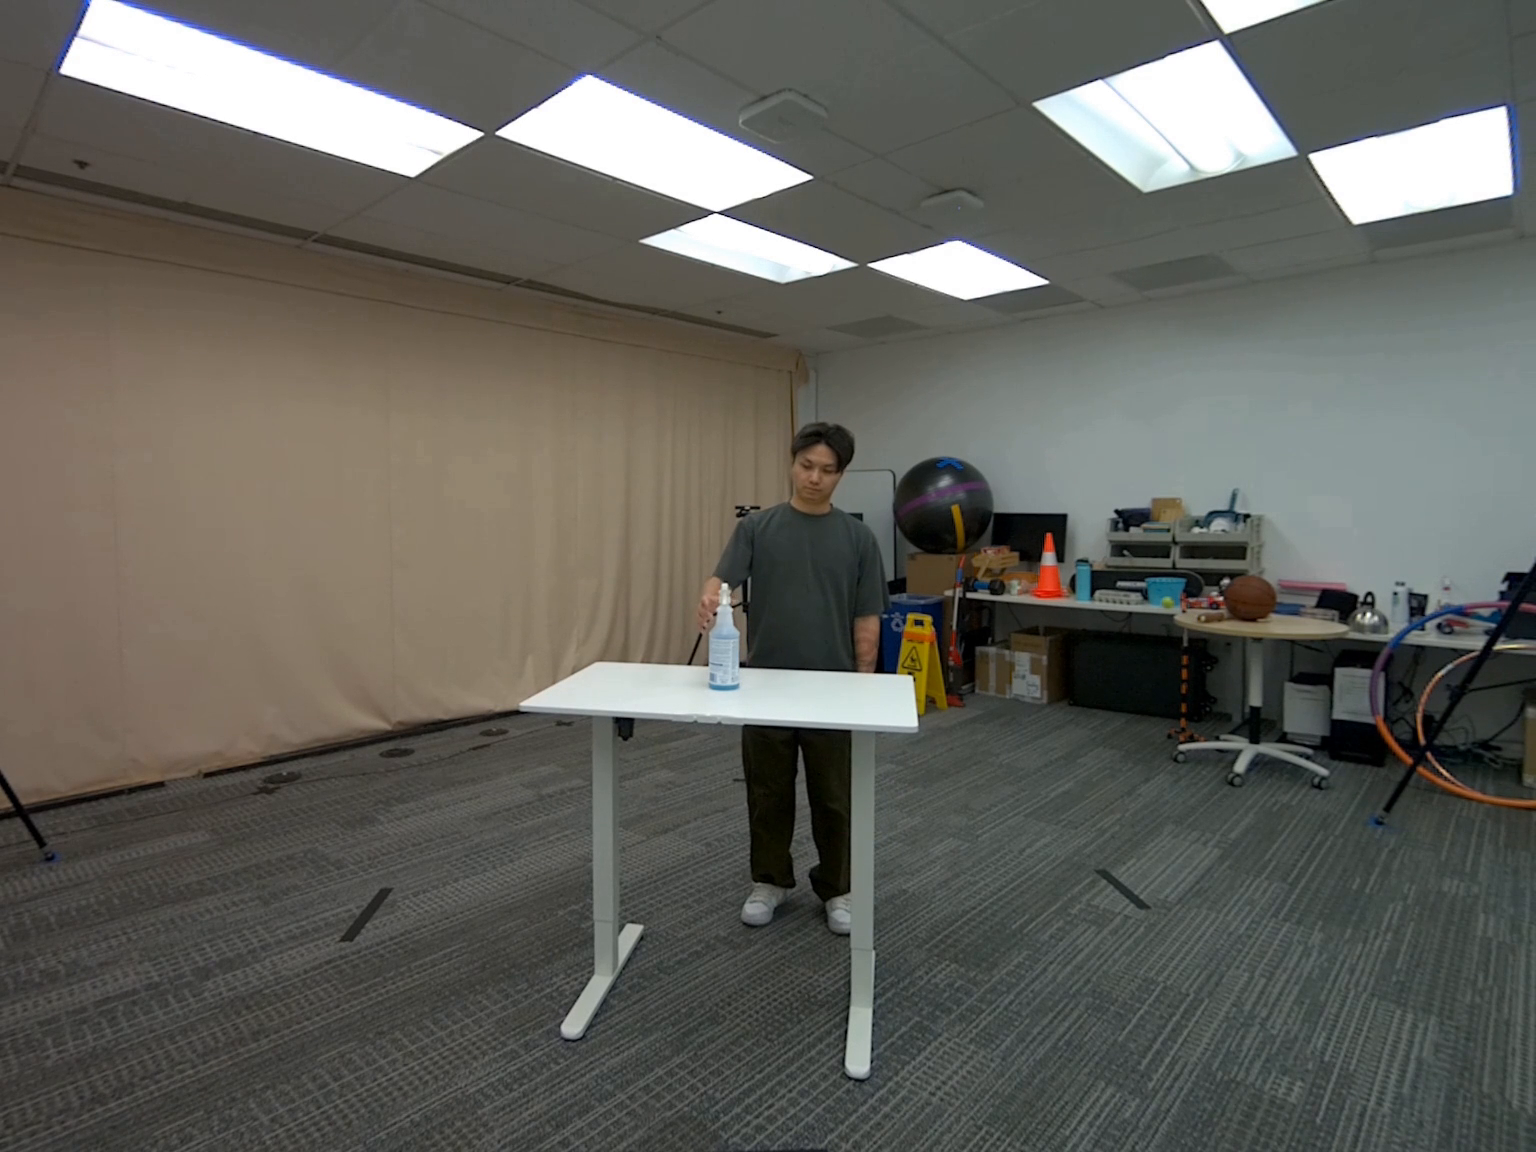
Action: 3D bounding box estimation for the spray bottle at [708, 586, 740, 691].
[{"bbox_3d":[-0.120,0.173,2.352,0.089,0.296,0.088,6,9,25],"label":"spray bottle"}]
